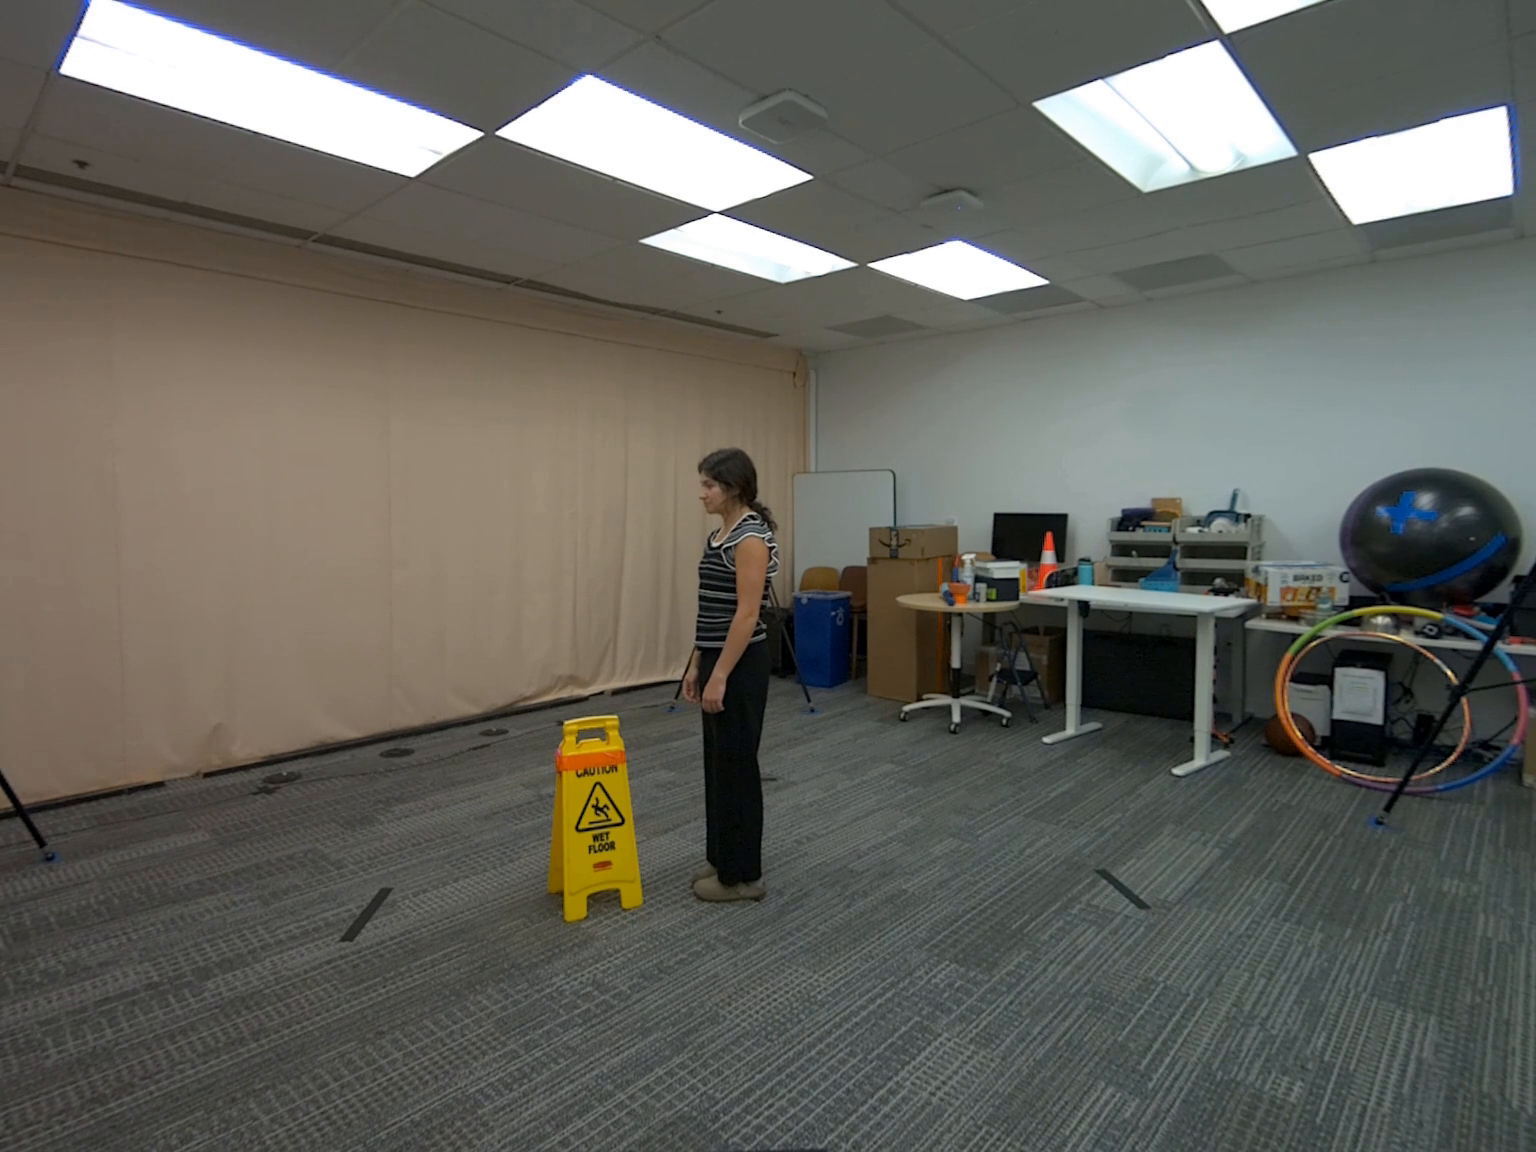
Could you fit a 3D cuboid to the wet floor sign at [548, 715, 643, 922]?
[{"bbox_3d":[-0.623,0.828,2.979,0.276,0.645,0.297,-2,2,-25],"label":"wet floor sign"}]
